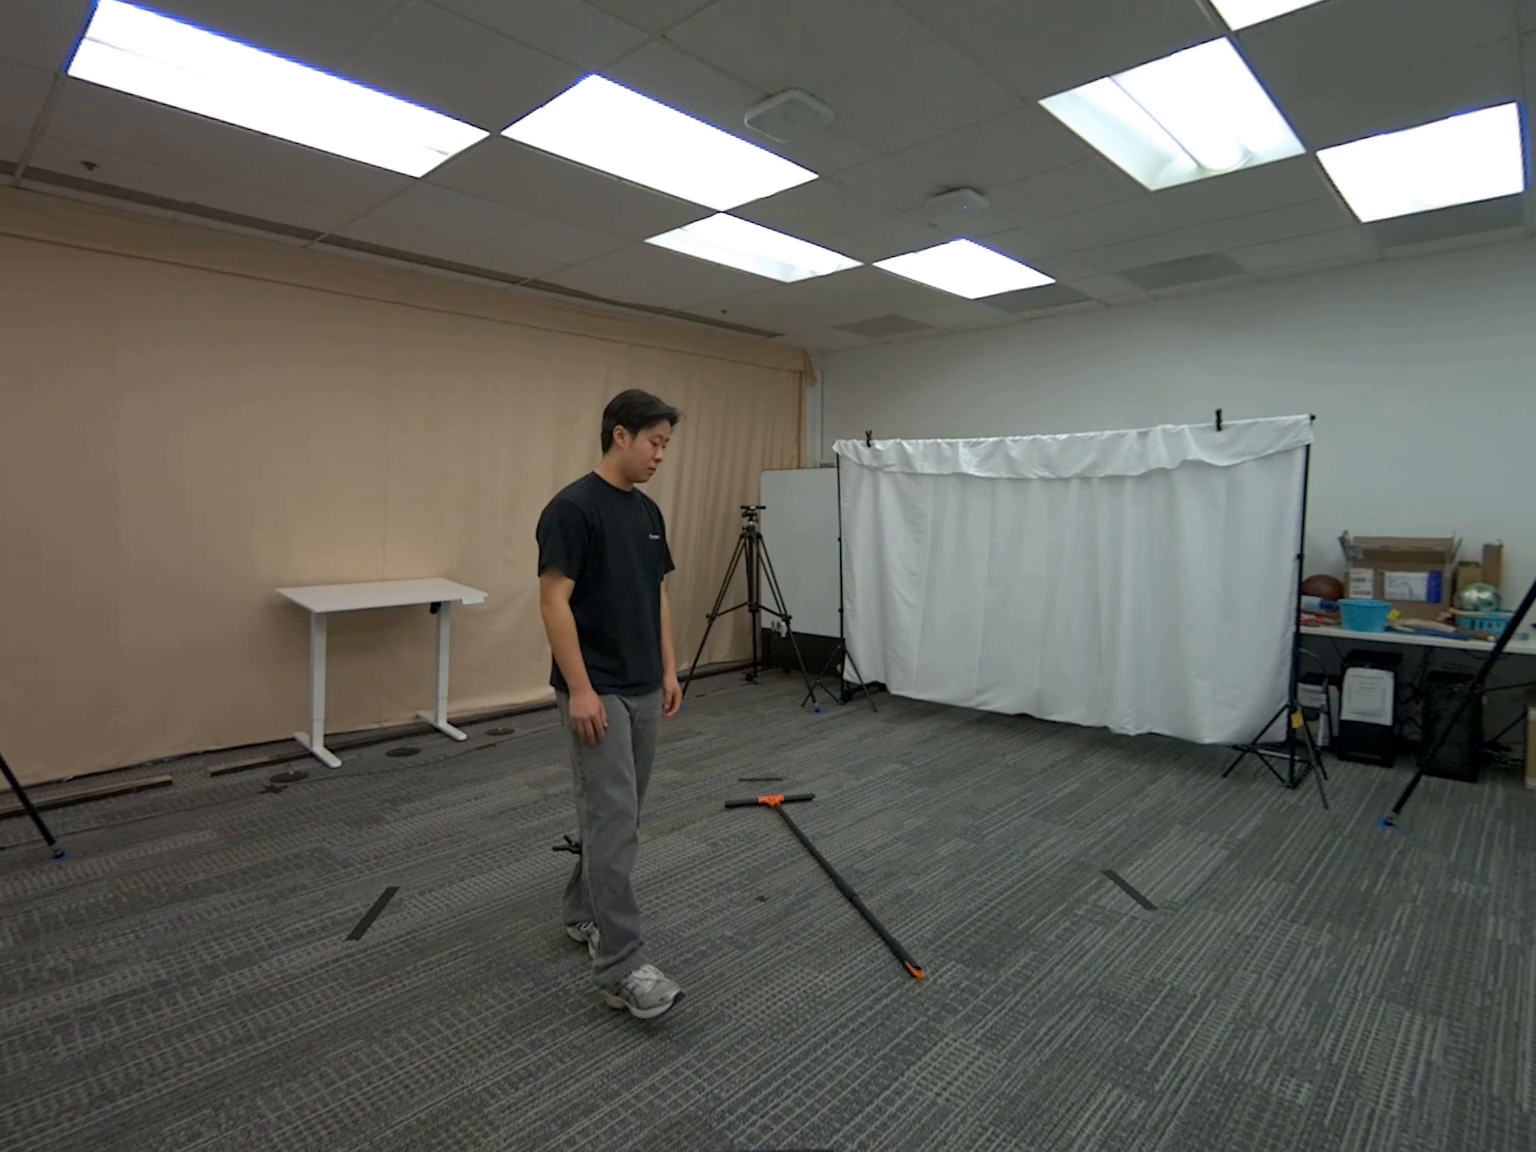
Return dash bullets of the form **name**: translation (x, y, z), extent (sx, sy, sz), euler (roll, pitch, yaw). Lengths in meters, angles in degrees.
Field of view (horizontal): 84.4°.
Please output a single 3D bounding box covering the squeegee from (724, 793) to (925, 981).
- **squeegee**: translation (0.226, 1.082, 3.196), extent (0.430, 0.053, 1.566), euler (-2, 5, -17)
